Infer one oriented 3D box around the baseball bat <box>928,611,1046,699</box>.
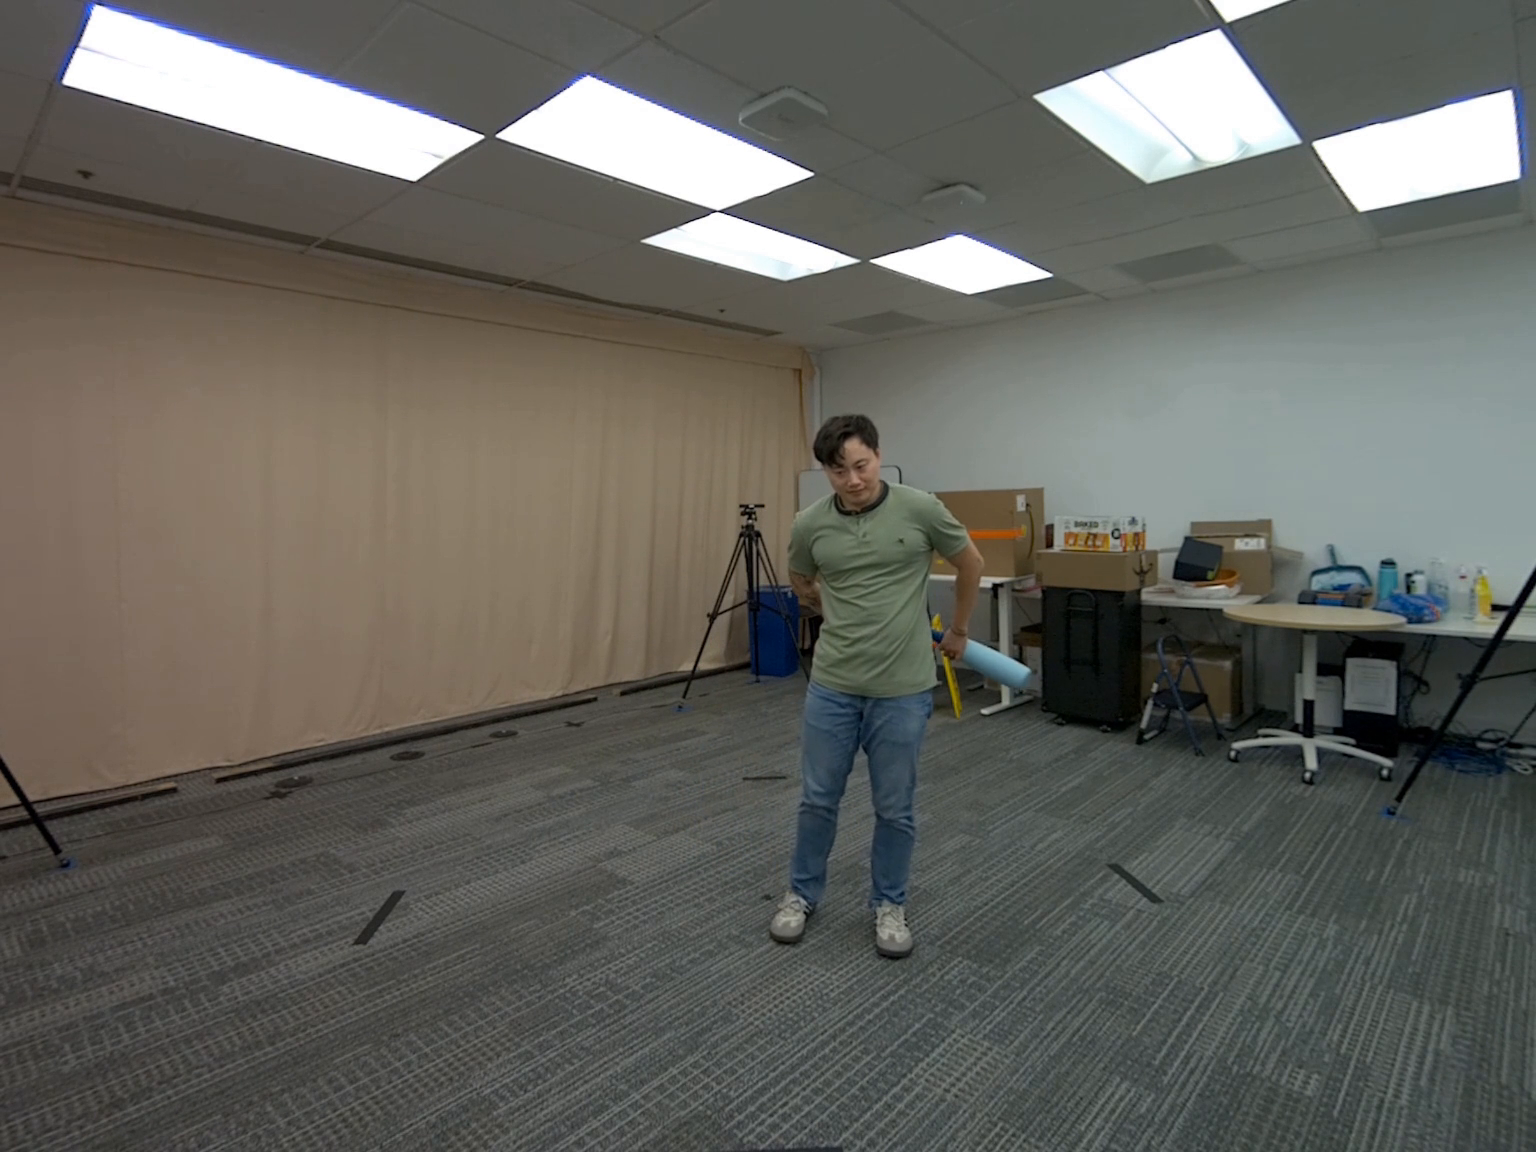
[{"bbox_3d":[0.642,0.230,2.849,0.561,0.089,0.086,28,18,29],"label":"baseball bat"}]
